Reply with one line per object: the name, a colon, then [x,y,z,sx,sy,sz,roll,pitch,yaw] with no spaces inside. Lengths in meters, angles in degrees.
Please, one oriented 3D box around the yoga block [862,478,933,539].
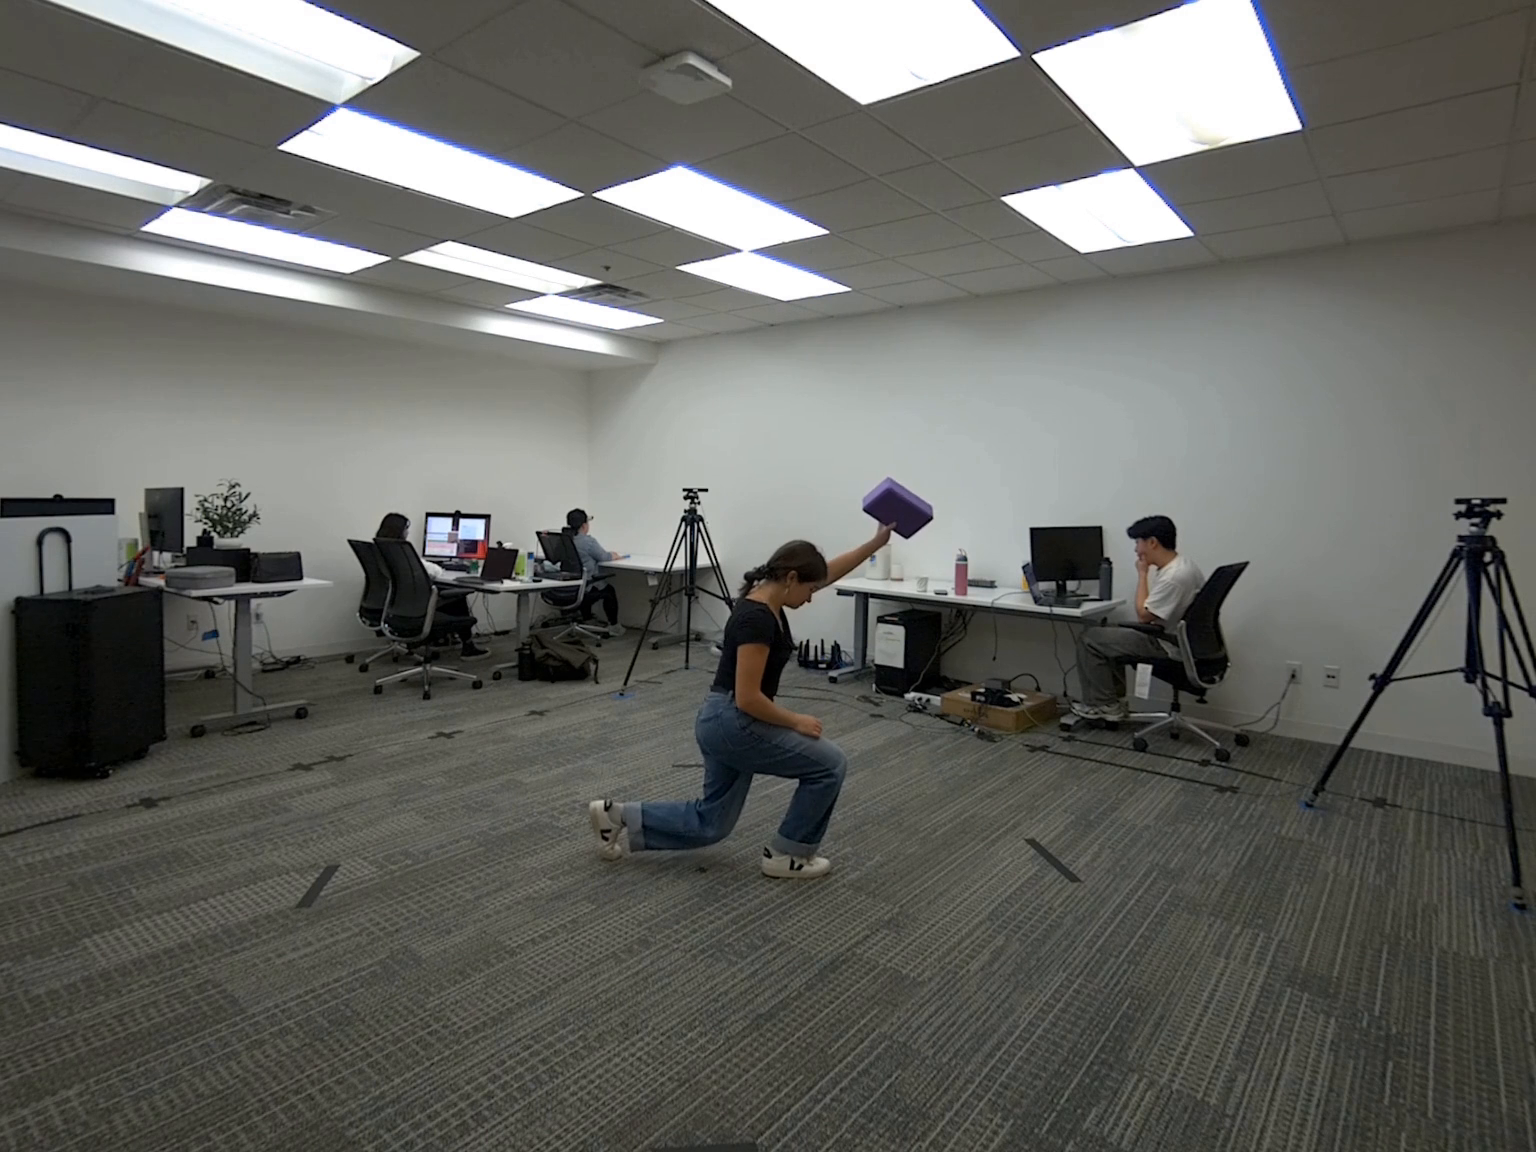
yoga block: [0.495,-0.250,3.170,0.223,0.078,0.149,33,-51,-19]
